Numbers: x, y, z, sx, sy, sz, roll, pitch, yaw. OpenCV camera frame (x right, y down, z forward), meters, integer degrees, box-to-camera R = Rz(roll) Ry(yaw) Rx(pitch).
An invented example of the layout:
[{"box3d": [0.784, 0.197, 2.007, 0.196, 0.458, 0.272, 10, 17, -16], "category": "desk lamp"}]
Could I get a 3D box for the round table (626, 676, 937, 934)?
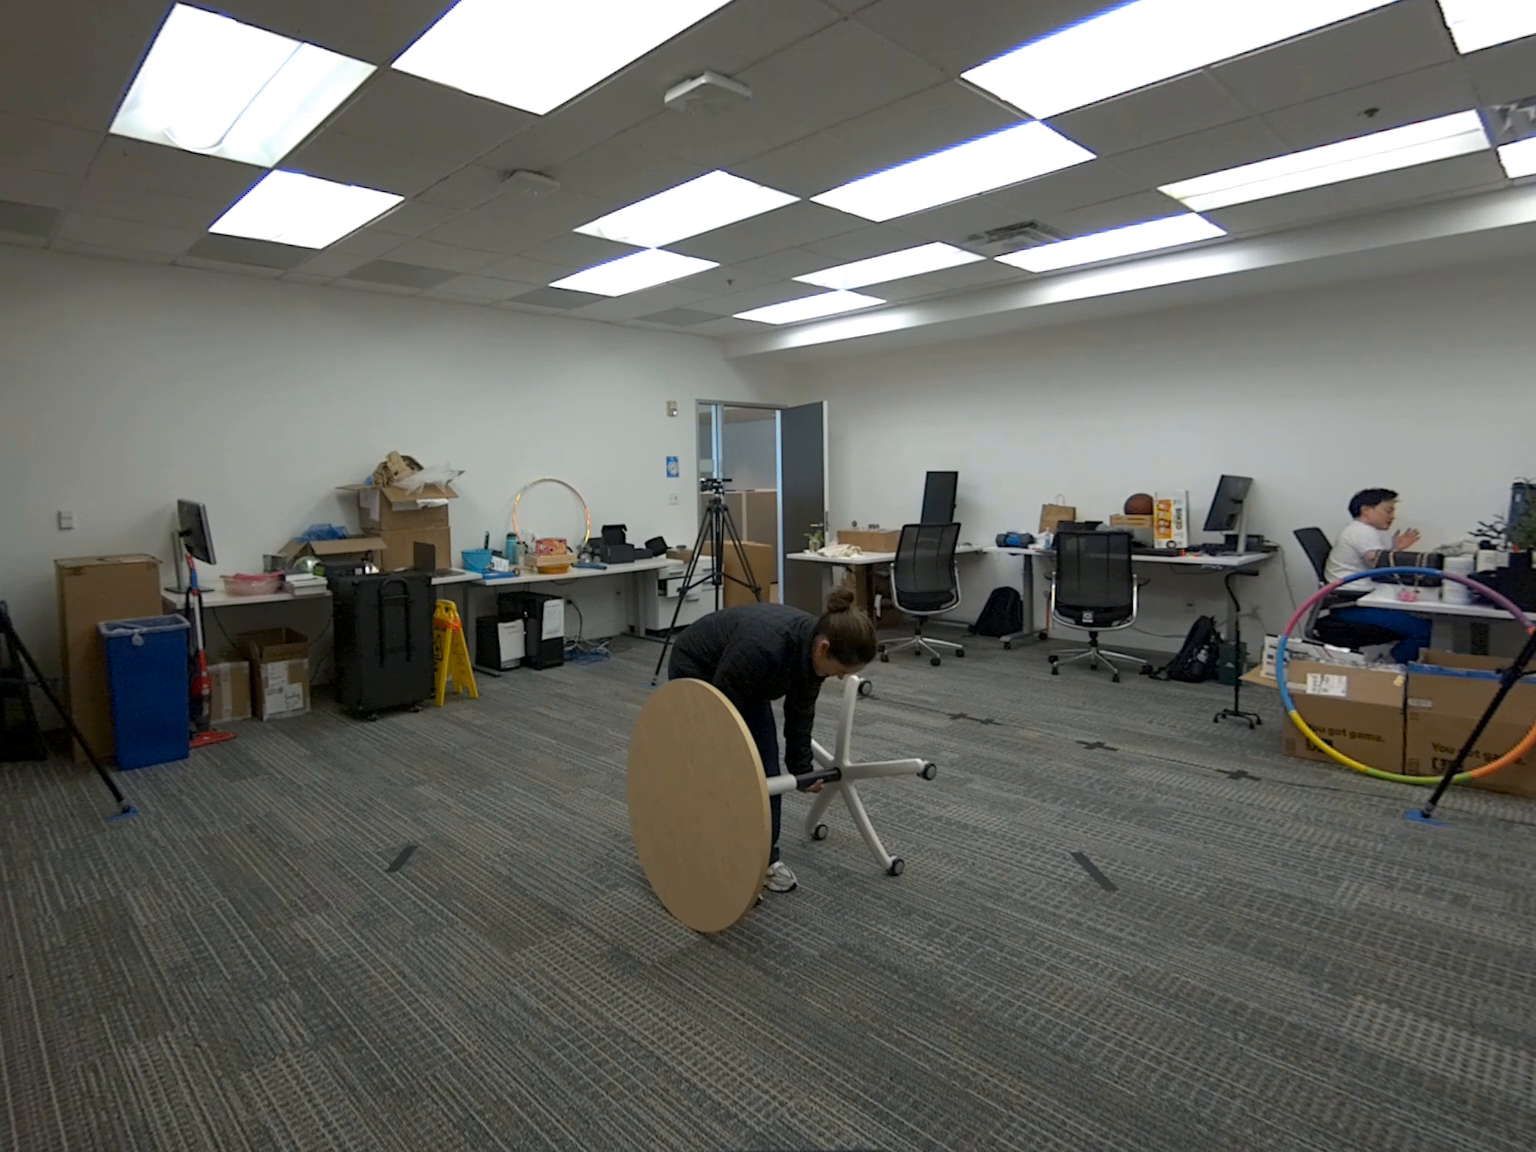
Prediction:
[{"box3d": [0.042, 0.720, 2.955, 0.763, 0.785, 0.809, 3, 1, -40], "category": "round table"}]
